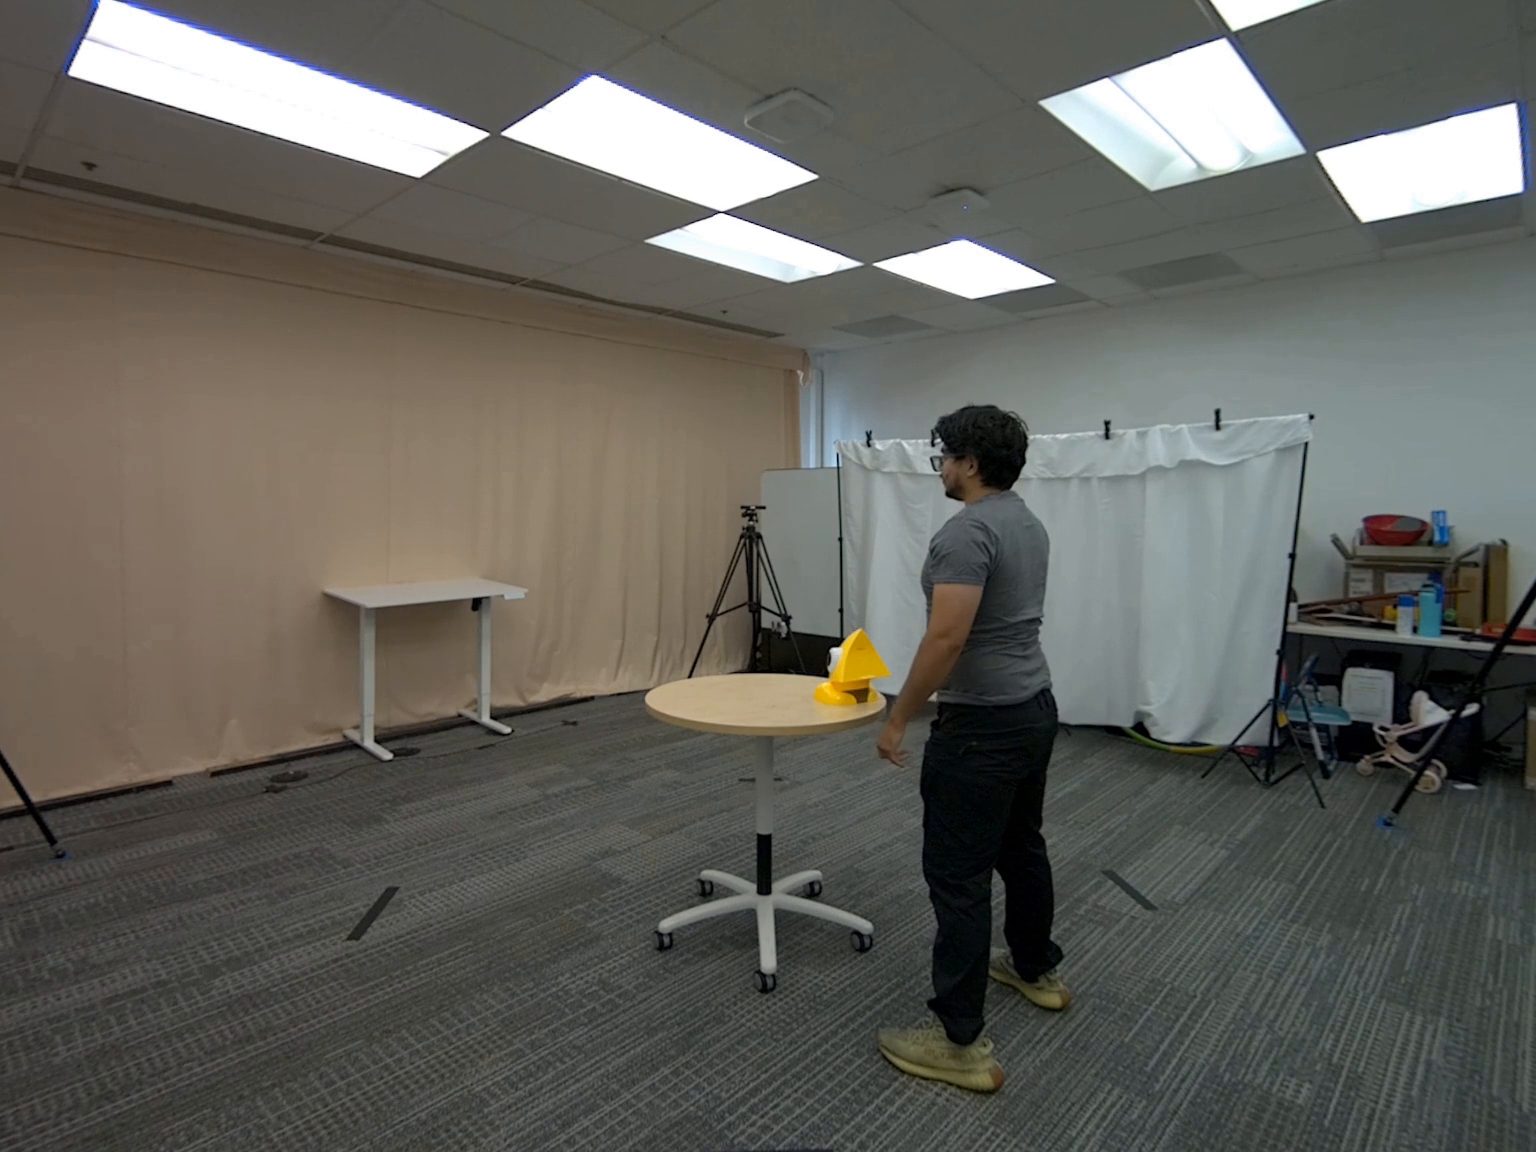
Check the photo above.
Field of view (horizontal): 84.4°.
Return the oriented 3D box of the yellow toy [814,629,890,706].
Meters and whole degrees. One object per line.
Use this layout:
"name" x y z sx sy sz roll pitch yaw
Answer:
"yellow toy" 0.257 0.276 2.653 0.199 0.230 0.199 -2 4 -34
